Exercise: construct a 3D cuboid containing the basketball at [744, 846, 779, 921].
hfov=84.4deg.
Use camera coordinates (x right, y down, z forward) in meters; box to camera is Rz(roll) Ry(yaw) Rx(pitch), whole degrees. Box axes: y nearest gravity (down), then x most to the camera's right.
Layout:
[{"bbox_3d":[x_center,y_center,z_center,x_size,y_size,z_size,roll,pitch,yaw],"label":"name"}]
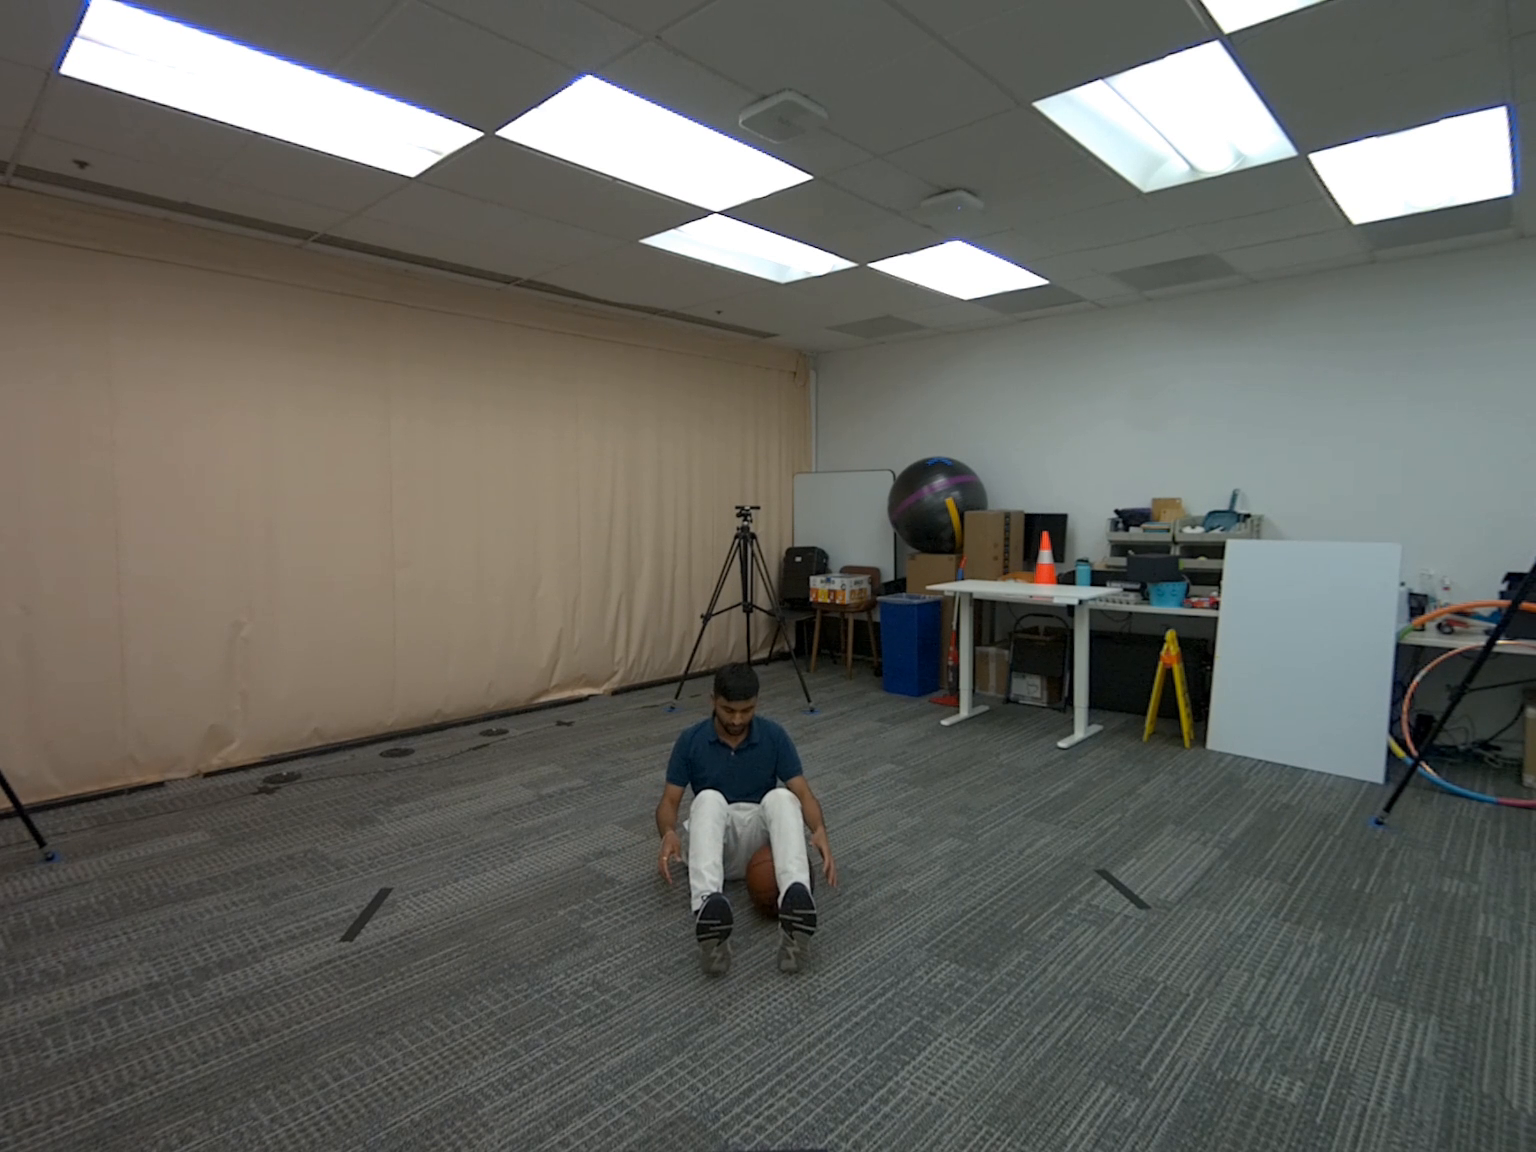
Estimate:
[{"bbox_3d":[0.017,1.031,2.883,0.236,0.235,0.237,0,4,-2],"label":"basketball"}]
